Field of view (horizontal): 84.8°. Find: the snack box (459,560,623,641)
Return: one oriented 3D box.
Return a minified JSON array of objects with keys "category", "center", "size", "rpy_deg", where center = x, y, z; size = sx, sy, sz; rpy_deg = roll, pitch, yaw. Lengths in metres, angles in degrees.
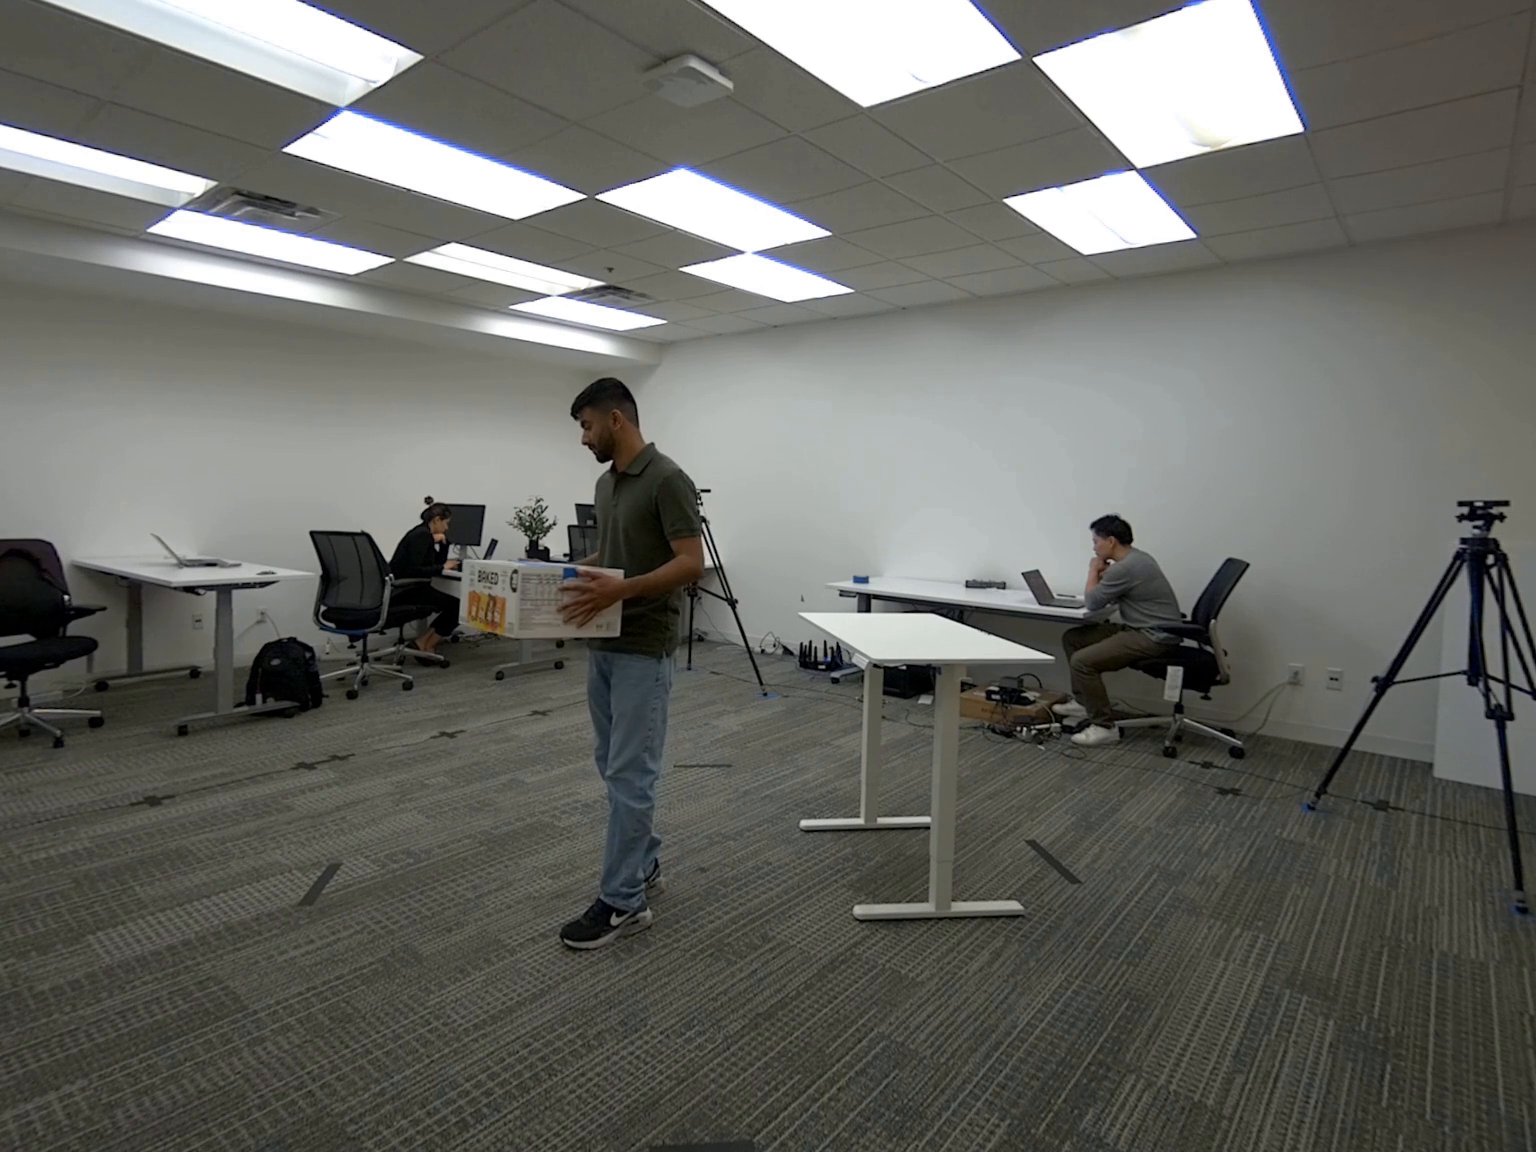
[{"category":"snack box","center":[-0.704,0.064,2.580],"size":[0.329,0.206,0.418],"rpy_deg":[2,2,-40]}]
